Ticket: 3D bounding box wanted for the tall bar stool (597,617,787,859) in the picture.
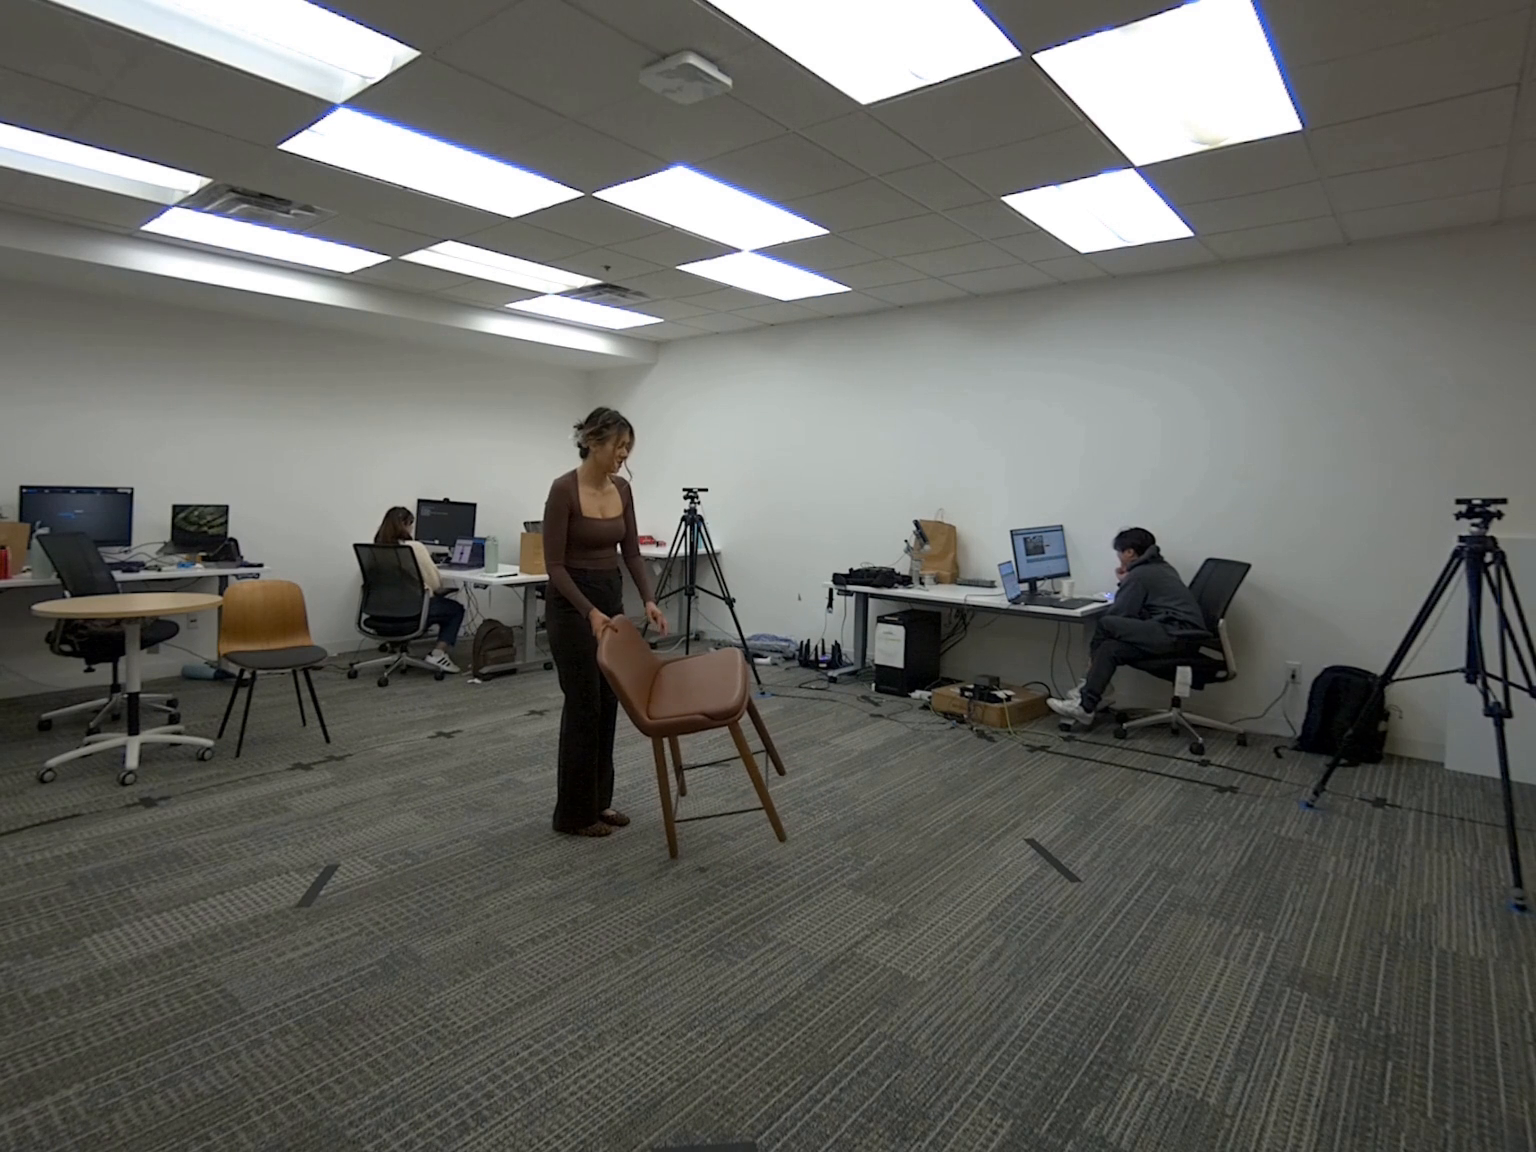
[{"bbox_3d":[-0.271,0.556,3.189,0.471,0.868,0.464,-15,21,9],"label":"tall bar stool"}]
